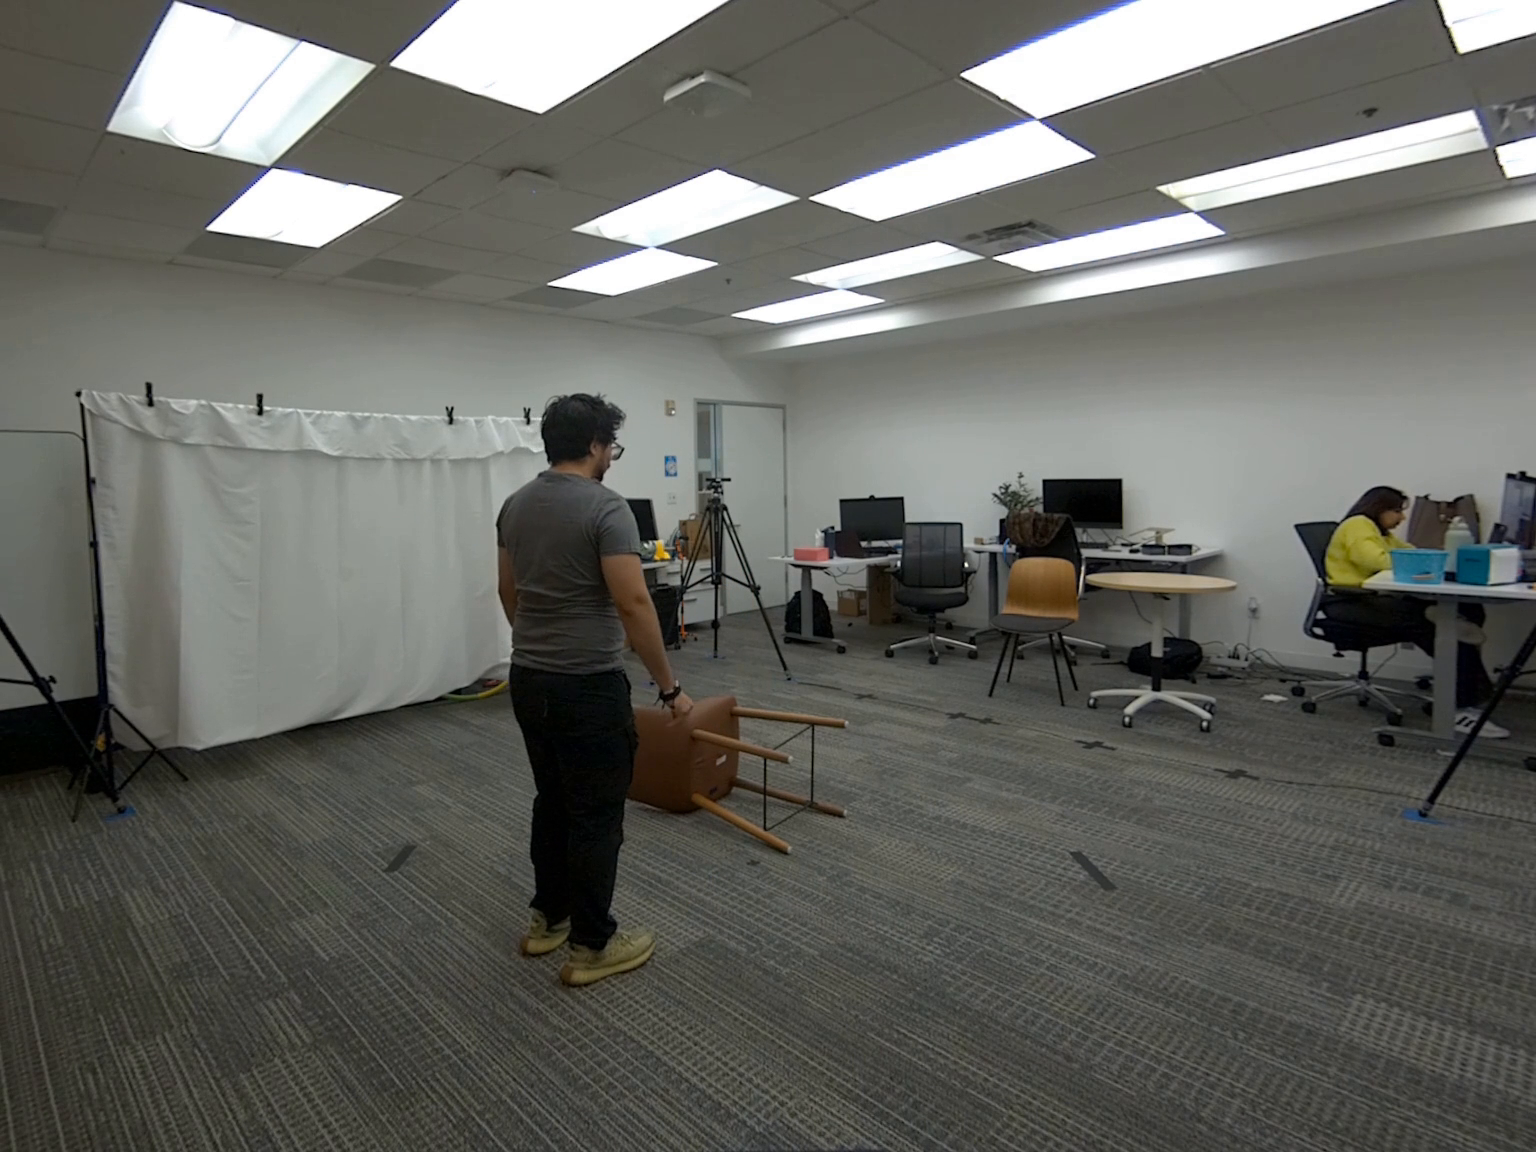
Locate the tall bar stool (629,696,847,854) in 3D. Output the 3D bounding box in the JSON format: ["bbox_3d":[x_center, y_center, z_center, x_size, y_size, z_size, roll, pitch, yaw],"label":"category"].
[{"bbox_3d":[-0.162,0.778,3.572,0.916,0.453,0.457,5,10,34],"label":"tall bar stool"}]
